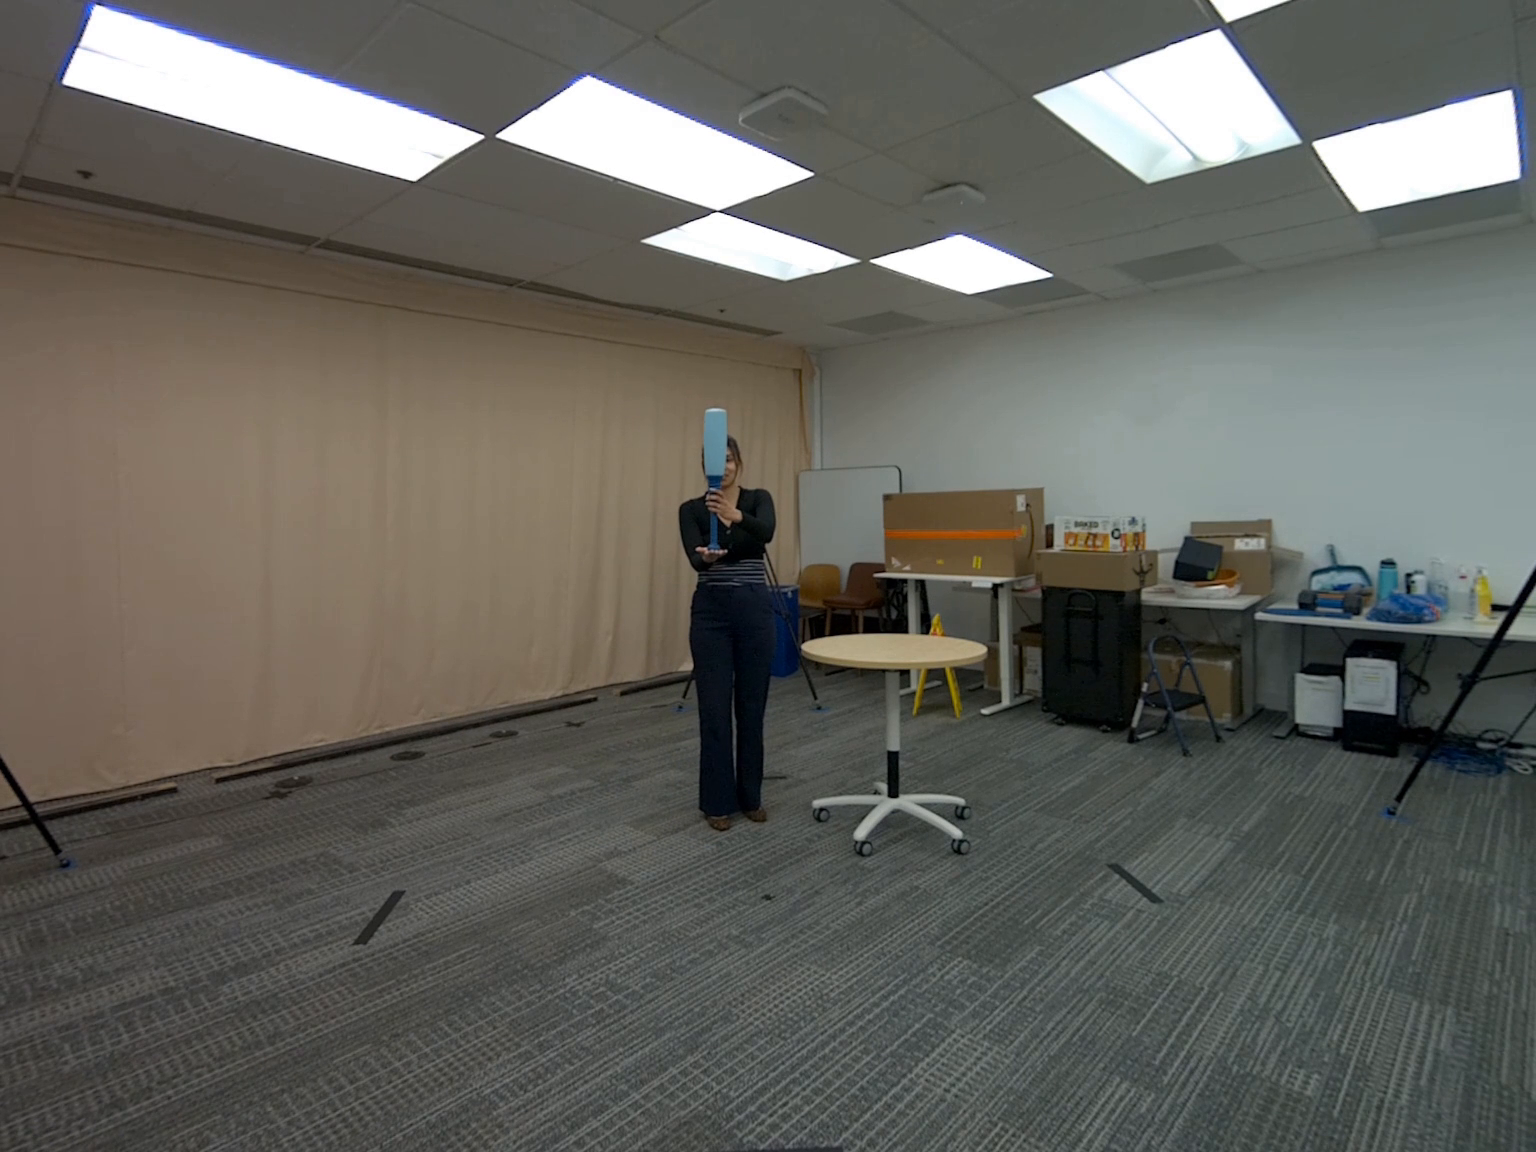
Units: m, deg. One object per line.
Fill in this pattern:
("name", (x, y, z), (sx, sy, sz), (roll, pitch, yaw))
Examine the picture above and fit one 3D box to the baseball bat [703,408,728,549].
("baseball bat", (-0.201, -0.367, 3.238), (0.089, 0.541, 0.089), (1, 5, -2))
